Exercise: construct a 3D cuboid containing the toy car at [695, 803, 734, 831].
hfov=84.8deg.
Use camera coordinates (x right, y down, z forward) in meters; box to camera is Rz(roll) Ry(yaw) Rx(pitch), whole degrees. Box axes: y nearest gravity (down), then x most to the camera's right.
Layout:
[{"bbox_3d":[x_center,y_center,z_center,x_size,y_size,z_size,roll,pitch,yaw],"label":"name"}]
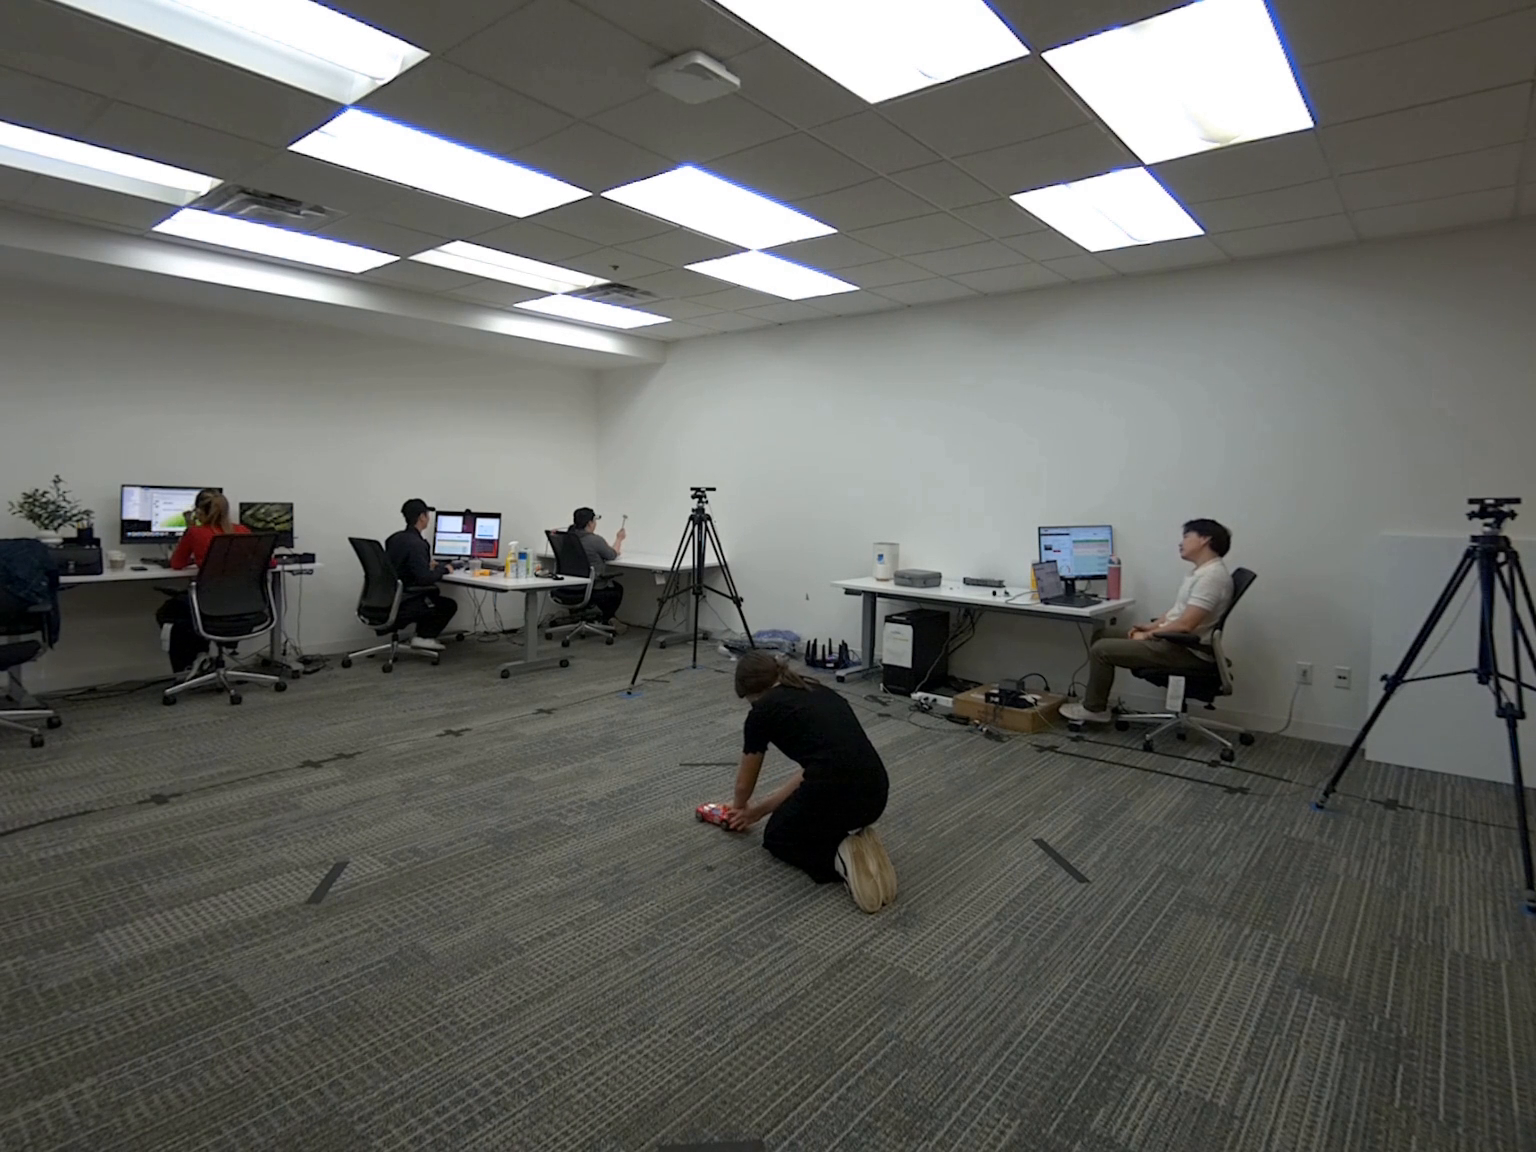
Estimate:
[{"bbox_3d":[-0.190,0.995,3.530,0.261,0.083,0.126,-7,-2,40],"label":"toy car"}]
